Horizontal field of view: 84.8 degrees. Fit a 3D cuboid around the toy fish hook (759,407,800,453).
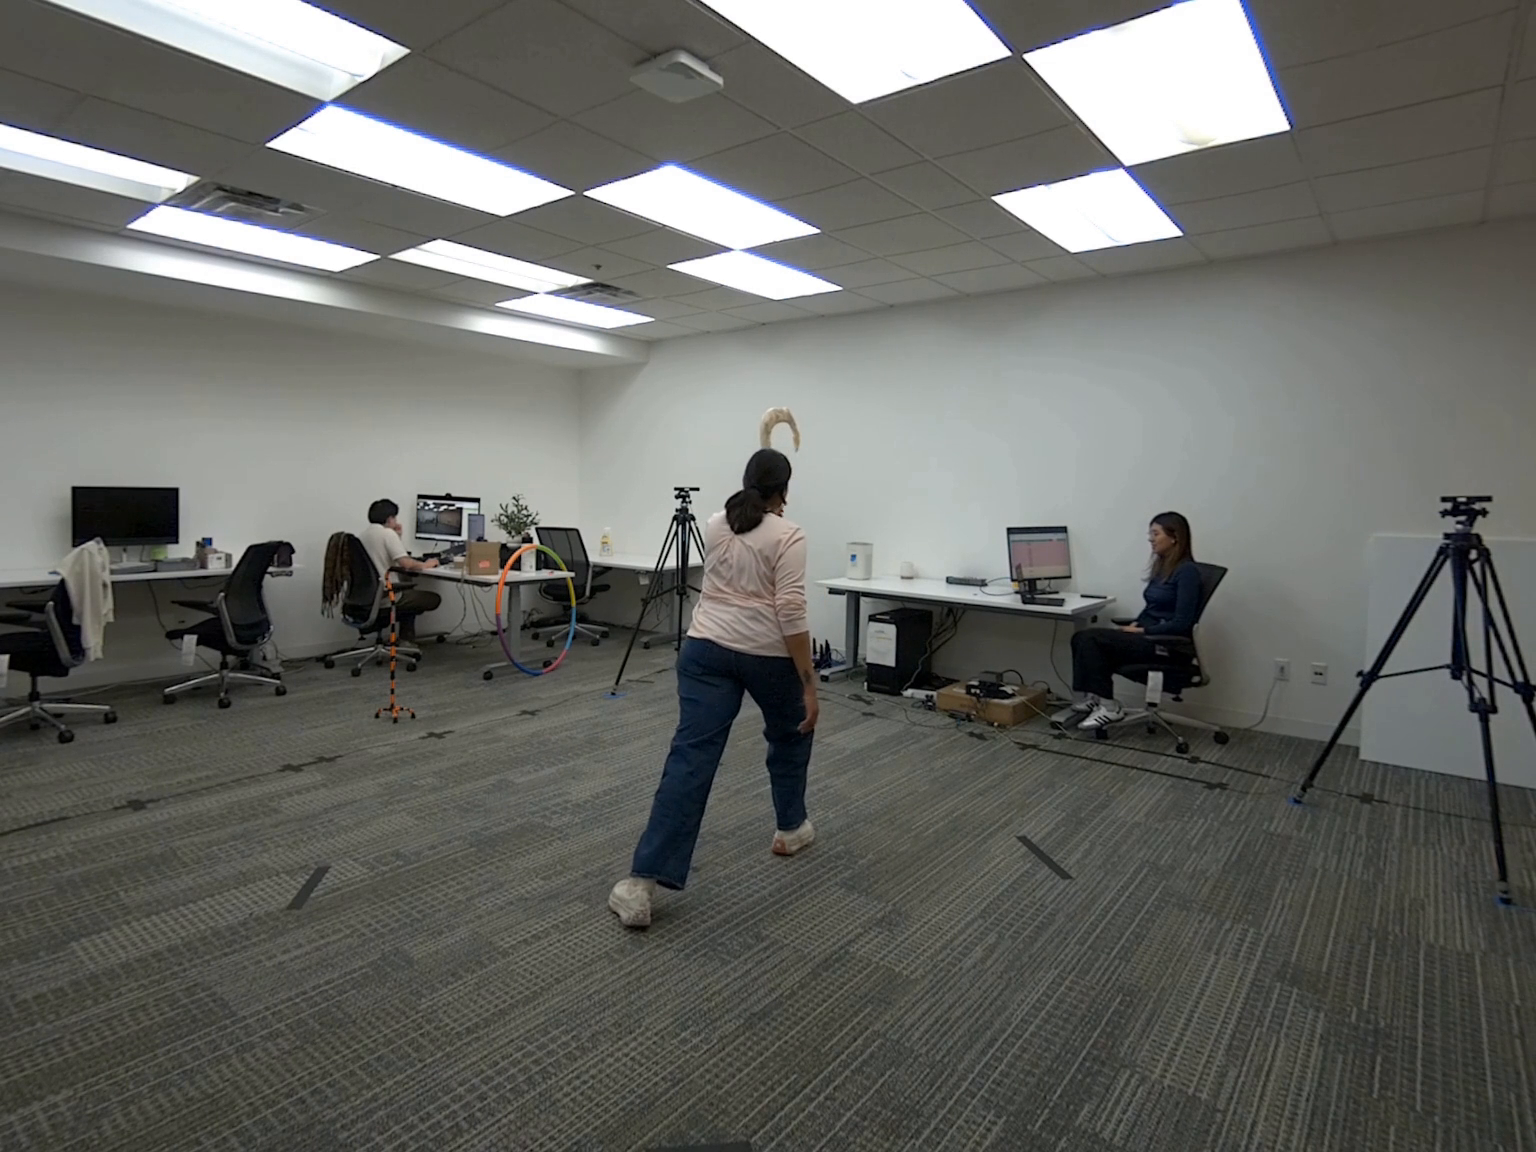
[{"bbox_3d":[0.054,-0.465,3.641,0.219,0.503,0.050,-8,8,-37],"label":"toy fish hook"}]
